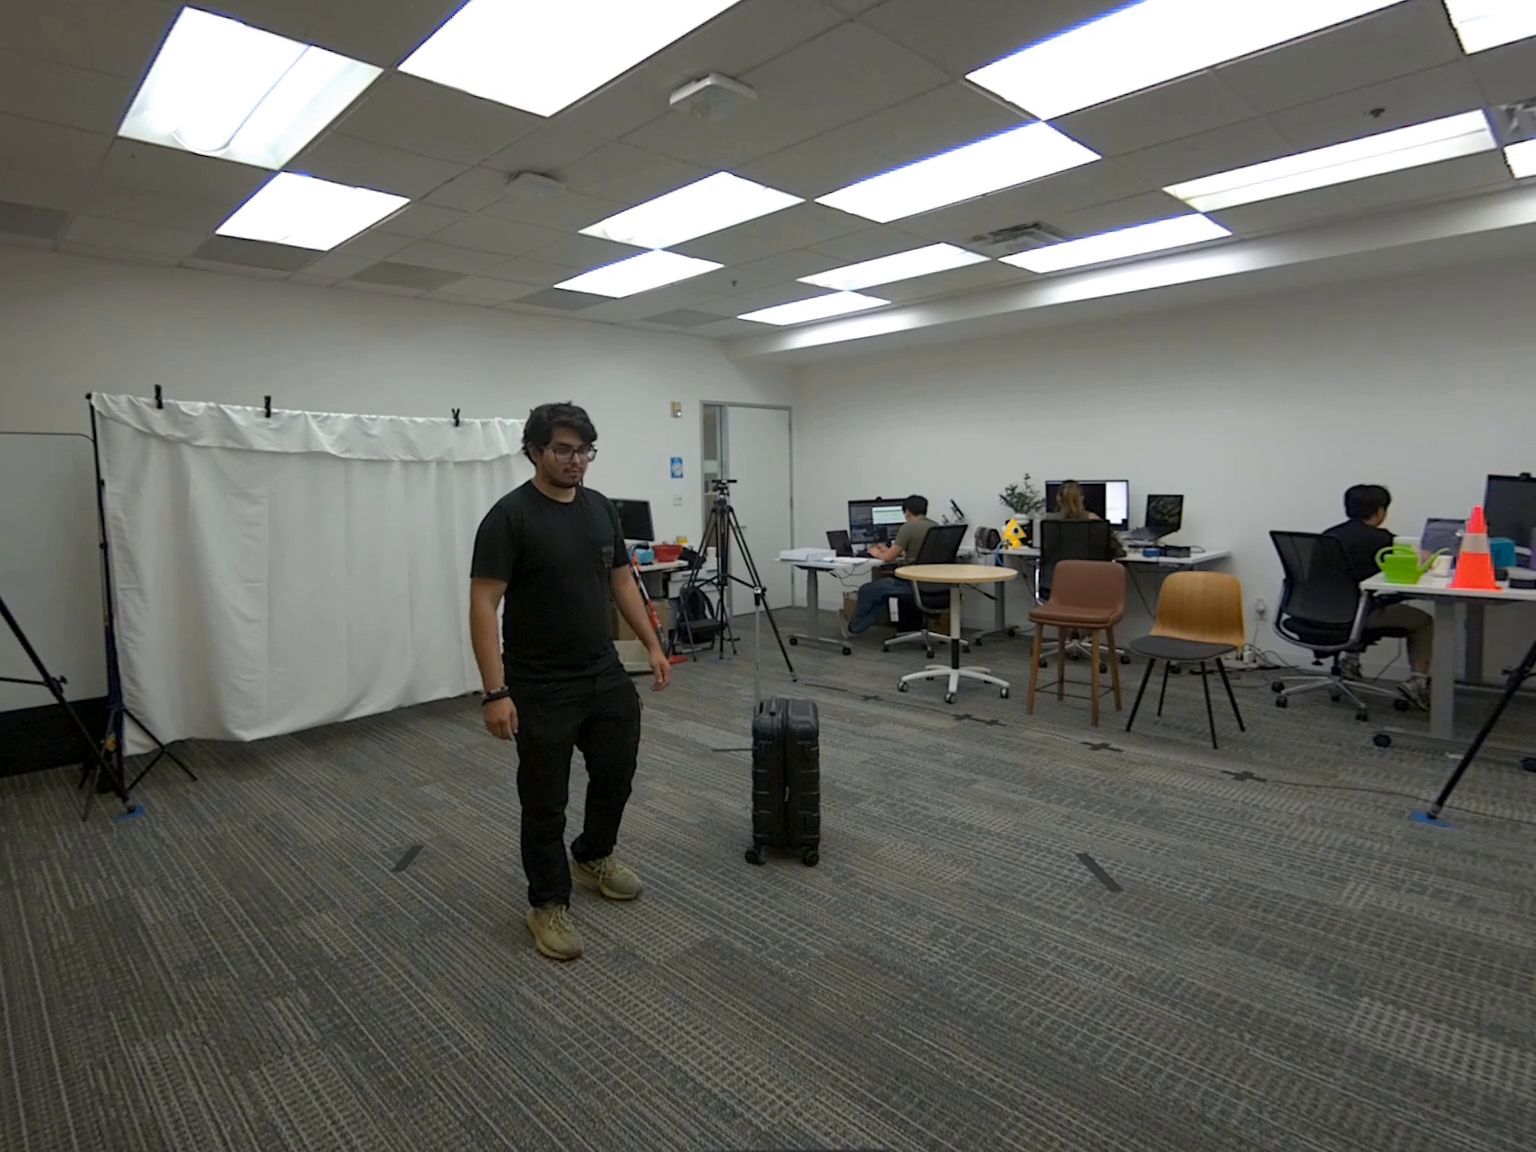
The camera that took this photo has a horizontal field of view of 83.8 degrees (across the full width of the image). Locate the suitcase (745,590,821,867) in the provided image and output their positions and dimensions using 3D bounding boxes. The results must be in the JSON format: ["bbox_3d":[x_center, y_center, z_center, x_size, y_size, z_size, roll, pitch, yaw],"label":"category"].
[{"bbox_3d":[0.072,0.554,3.237,0.258,0.976,0.384,1,3,3],"label":"suitcase"}]
